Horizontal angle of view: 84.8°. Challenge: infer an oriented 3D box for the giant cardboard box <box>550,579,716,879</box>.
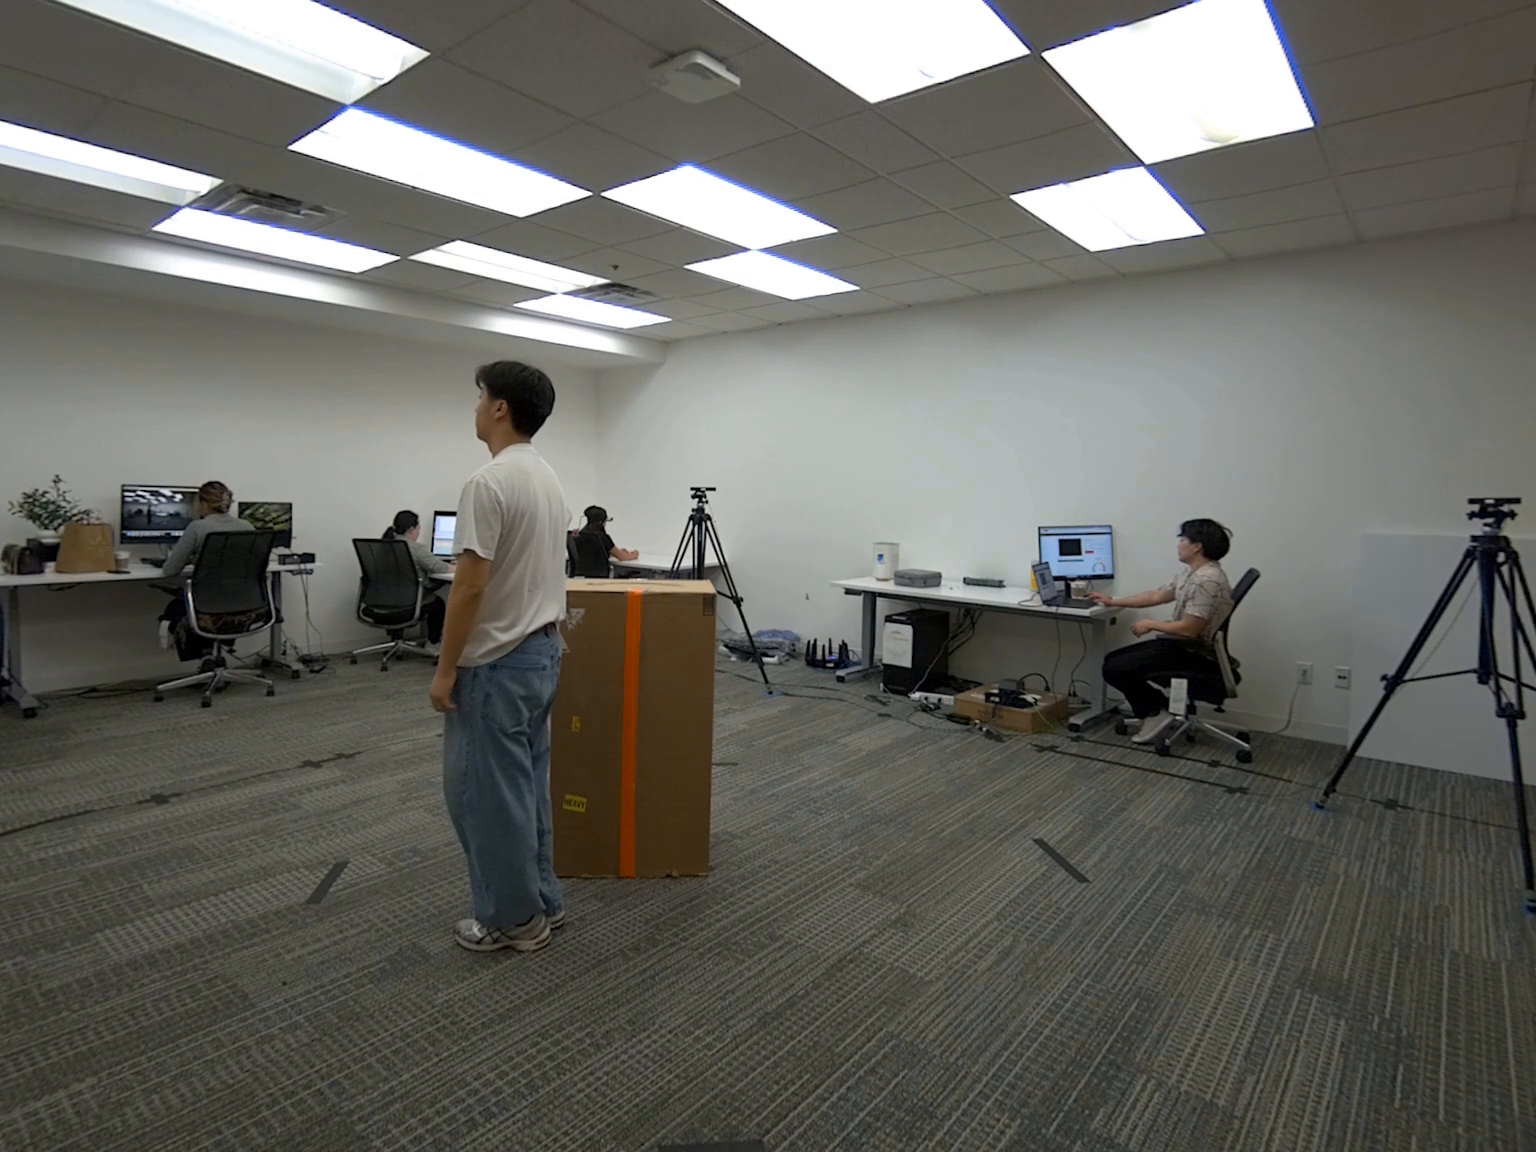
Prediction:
[{"bbox_3d":[-0.514,0.539,3.208,0.575,1.023,0.429,1,3,-4],"label":"giant cardboard box"}]
